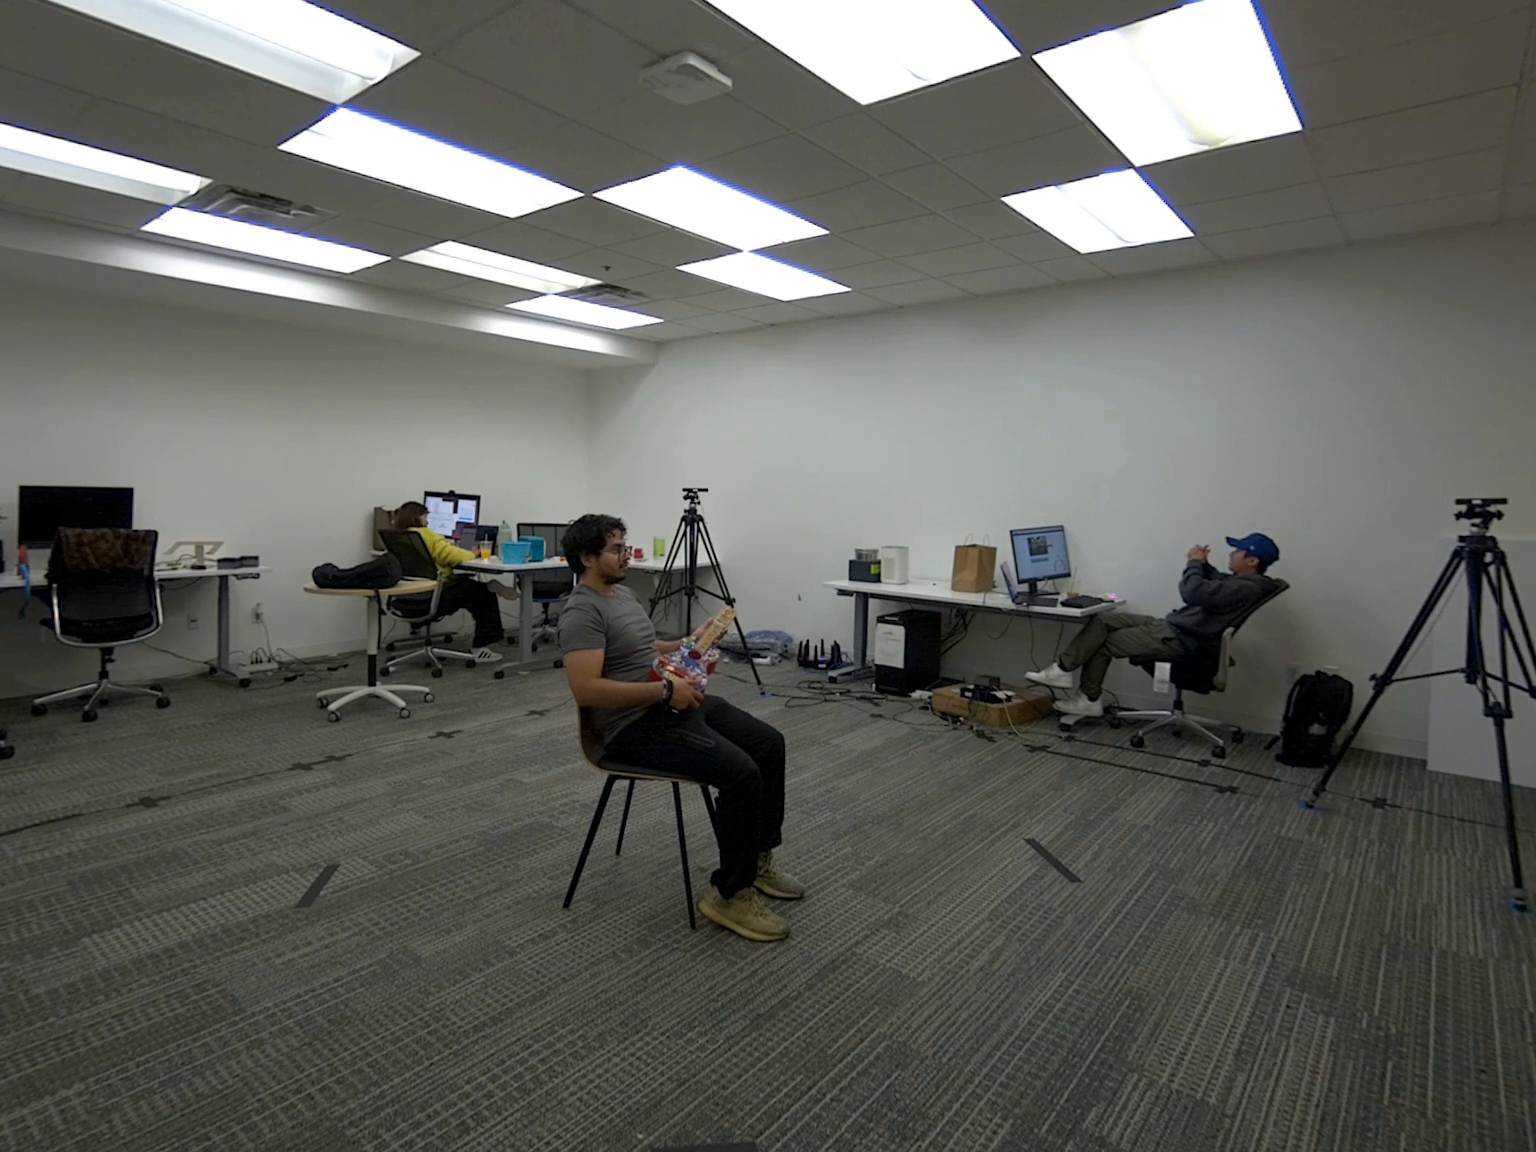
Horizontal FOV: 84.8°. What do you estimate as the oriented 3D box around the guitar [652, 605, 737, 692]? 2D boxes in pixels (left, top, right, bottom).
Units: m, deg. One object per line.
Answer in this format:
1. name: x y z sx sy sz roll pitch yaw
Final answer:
1. guitar: -0.214 0.269 2.944 0.198 0.069 0.493 30 36 18
